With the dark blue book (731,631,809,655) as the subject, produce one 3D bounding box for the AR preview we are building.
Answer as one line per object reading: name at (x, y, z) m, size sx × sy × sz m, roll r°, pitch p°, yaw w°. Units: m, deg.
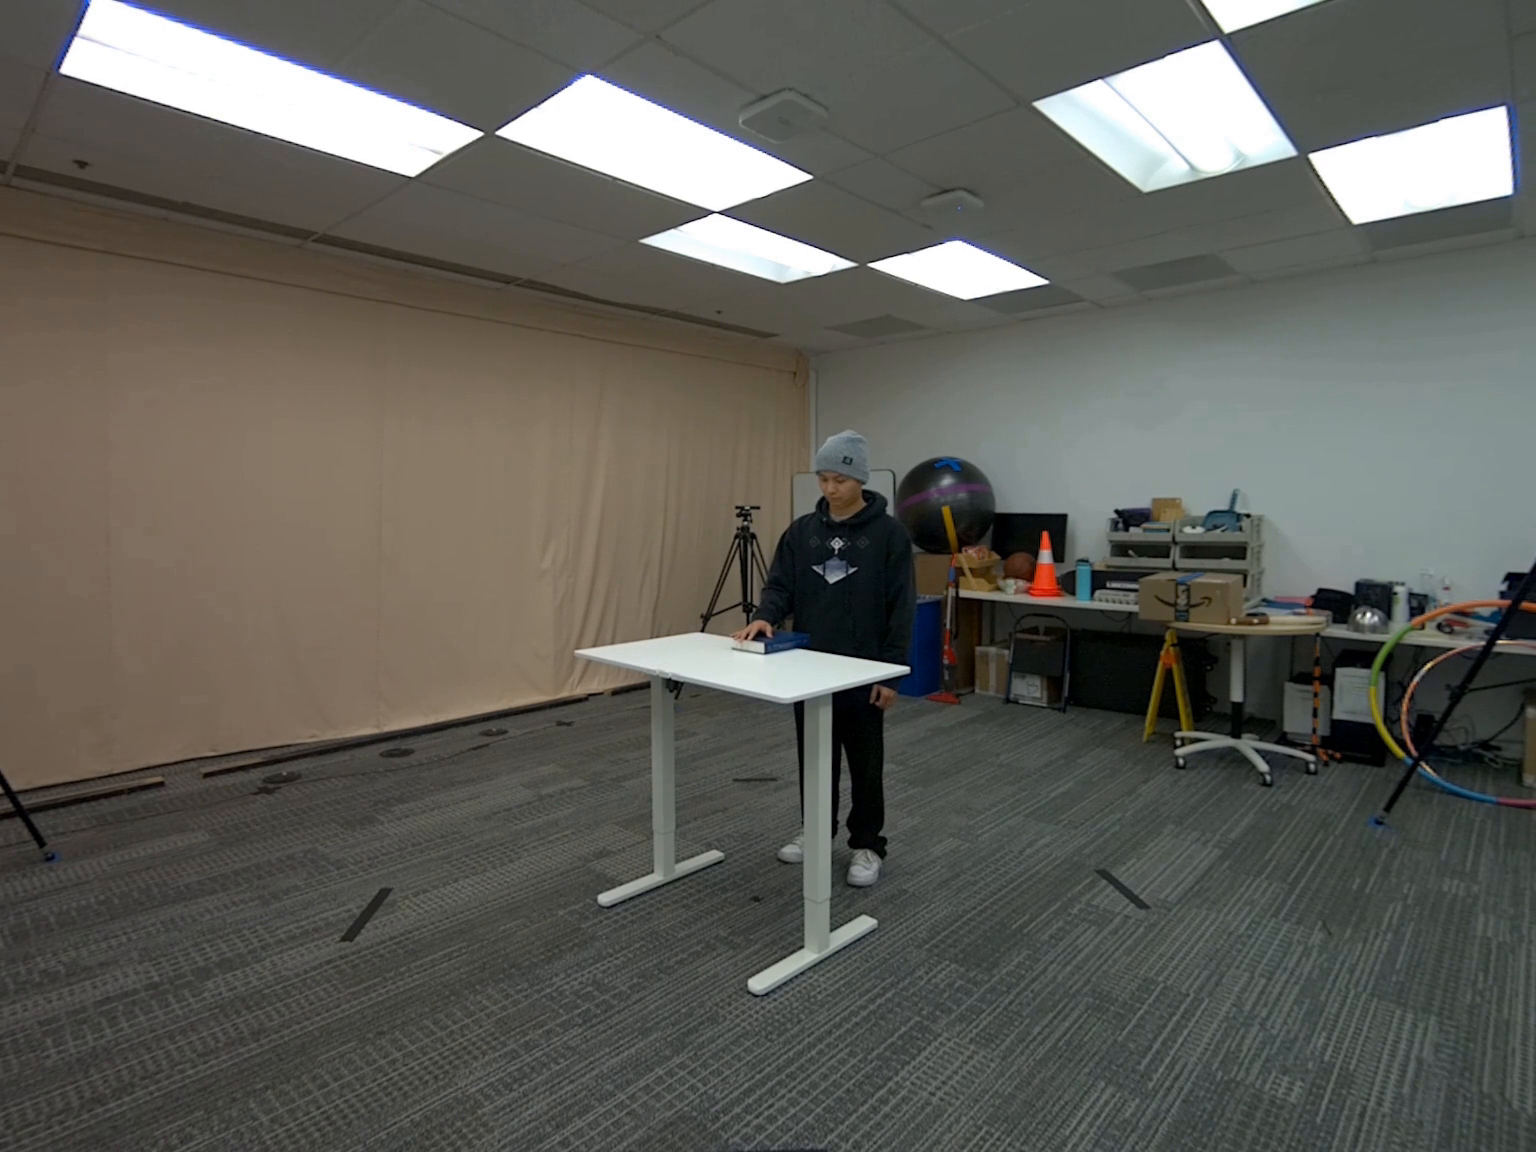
dark blue book at (0.012, 0.237, 3.025) m, size 0.169 × 0.045 × 0.238 m, roll 4°, pitch 7°, yaw 44°
